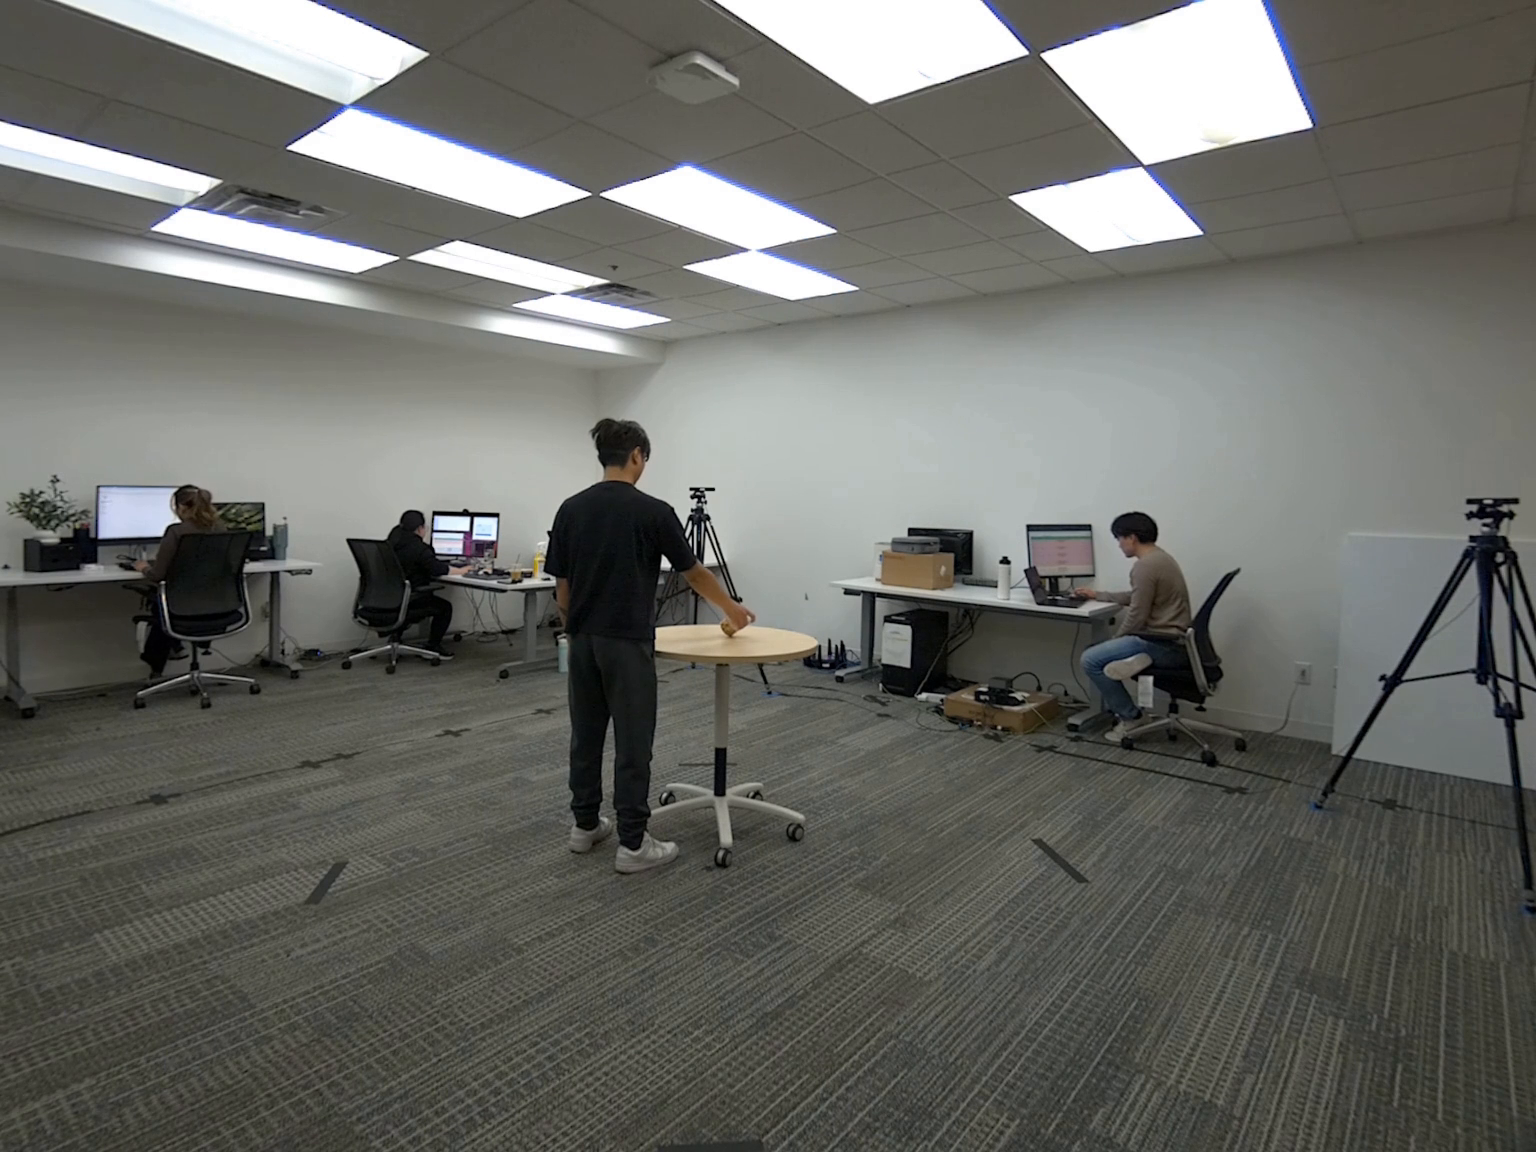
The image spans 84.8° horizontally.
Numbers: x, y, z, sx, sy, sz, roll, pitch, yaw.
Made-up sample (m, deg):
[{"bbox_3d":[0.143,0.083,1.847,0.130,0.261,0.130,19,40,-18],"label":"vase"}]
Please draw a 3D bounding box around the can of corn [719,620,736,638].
[{"bbox_3d":[-0.144,0.186,3.508,0.111,0.076,0.072,-38,-16,26],"label":"can of corn"}]
